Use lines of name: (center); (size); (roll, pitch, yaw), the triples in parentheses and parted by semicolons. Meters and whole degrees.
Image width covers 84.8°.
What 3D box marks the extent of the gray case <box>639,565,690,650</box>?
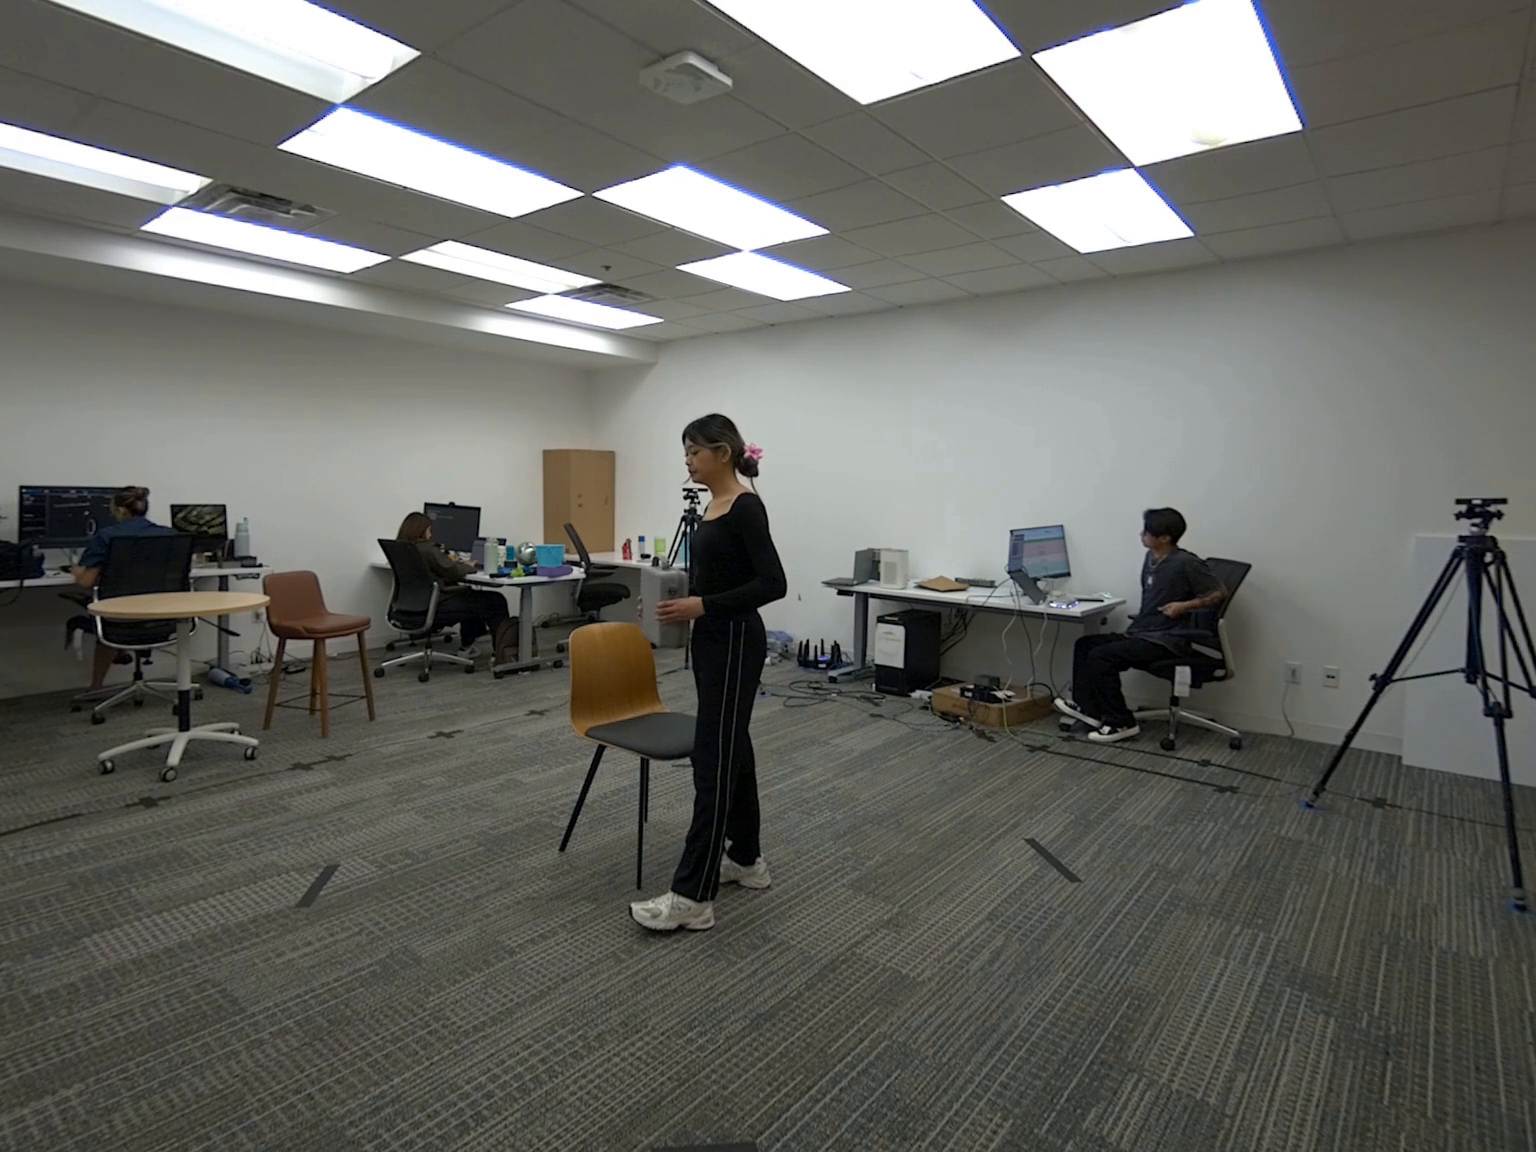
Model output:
gray case: (-0.354, 0.090, 2.829); (0.102, 0.259, 0.263); (-3, 6, -21)
